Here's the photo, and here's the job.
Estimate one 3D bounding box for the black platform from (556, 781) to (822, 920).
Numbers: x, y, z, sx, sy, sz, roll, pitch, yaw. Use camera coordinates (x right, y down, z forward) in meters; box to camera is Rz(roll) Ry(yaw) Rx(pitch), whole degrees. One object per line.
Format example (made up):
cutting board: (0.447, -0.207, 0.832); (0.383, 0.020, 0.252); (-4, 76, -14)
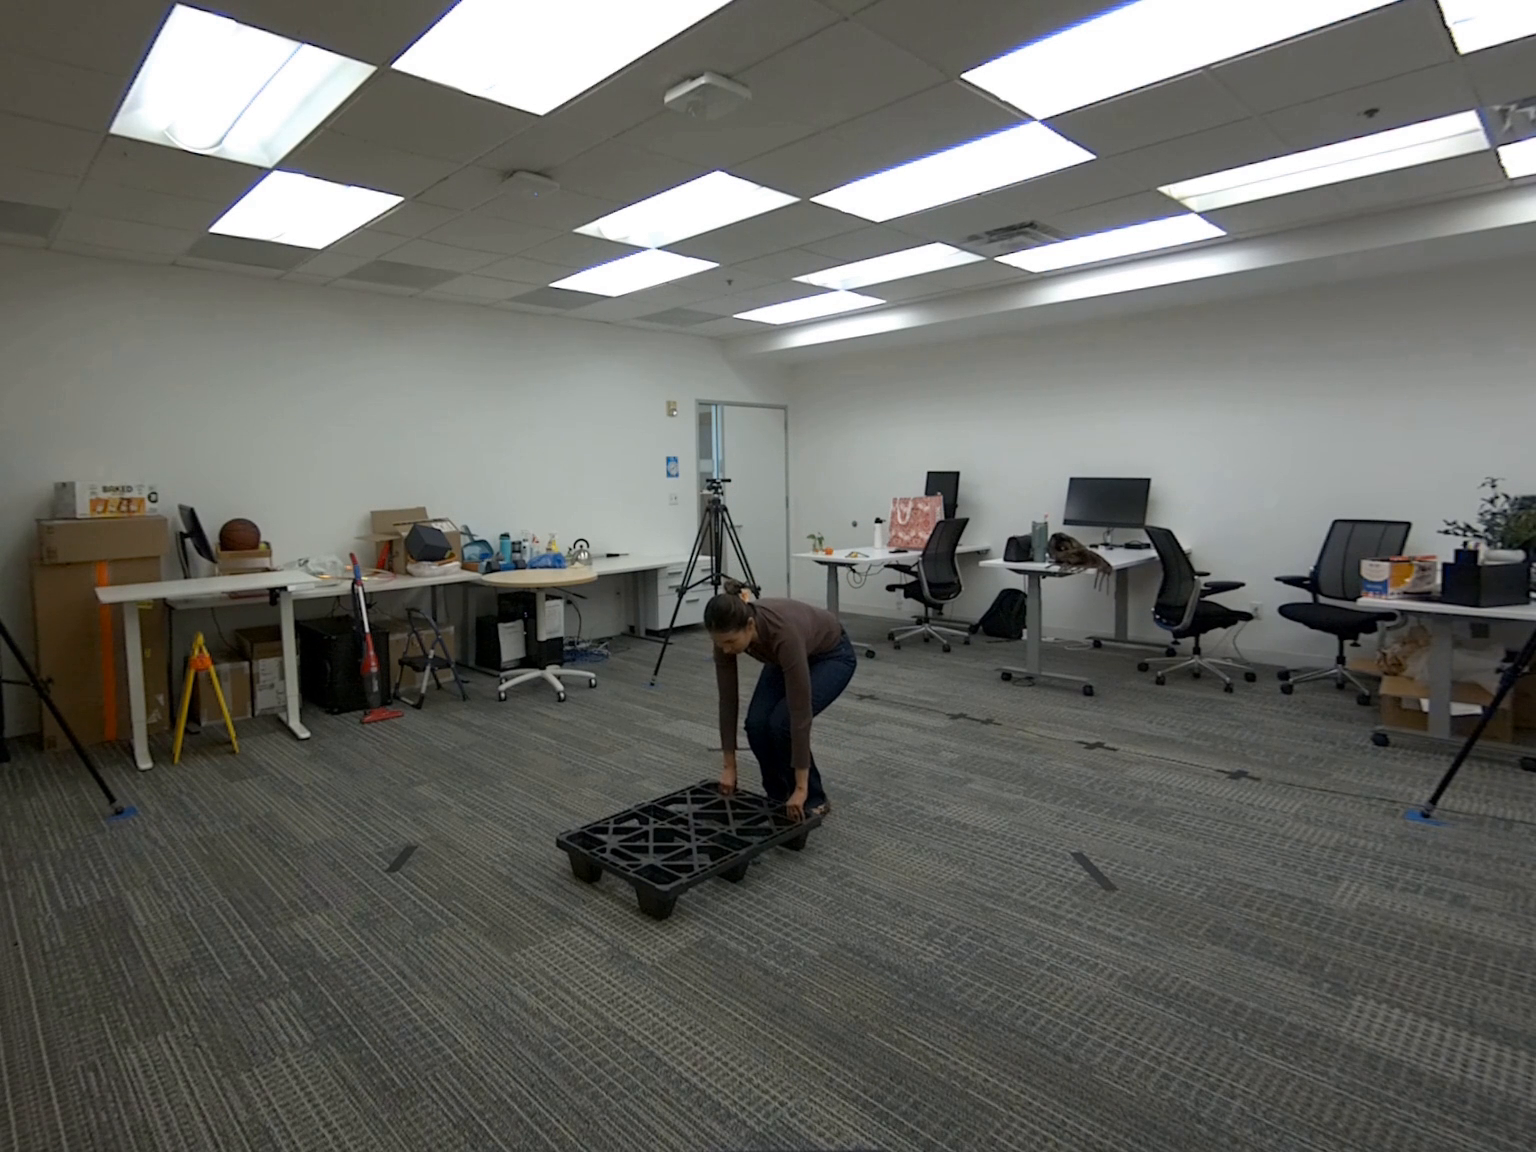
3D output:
black platform: (-0.270, 0.979, 3.129); (0.624, 0.142, 0.785); (6, 10, 42)
